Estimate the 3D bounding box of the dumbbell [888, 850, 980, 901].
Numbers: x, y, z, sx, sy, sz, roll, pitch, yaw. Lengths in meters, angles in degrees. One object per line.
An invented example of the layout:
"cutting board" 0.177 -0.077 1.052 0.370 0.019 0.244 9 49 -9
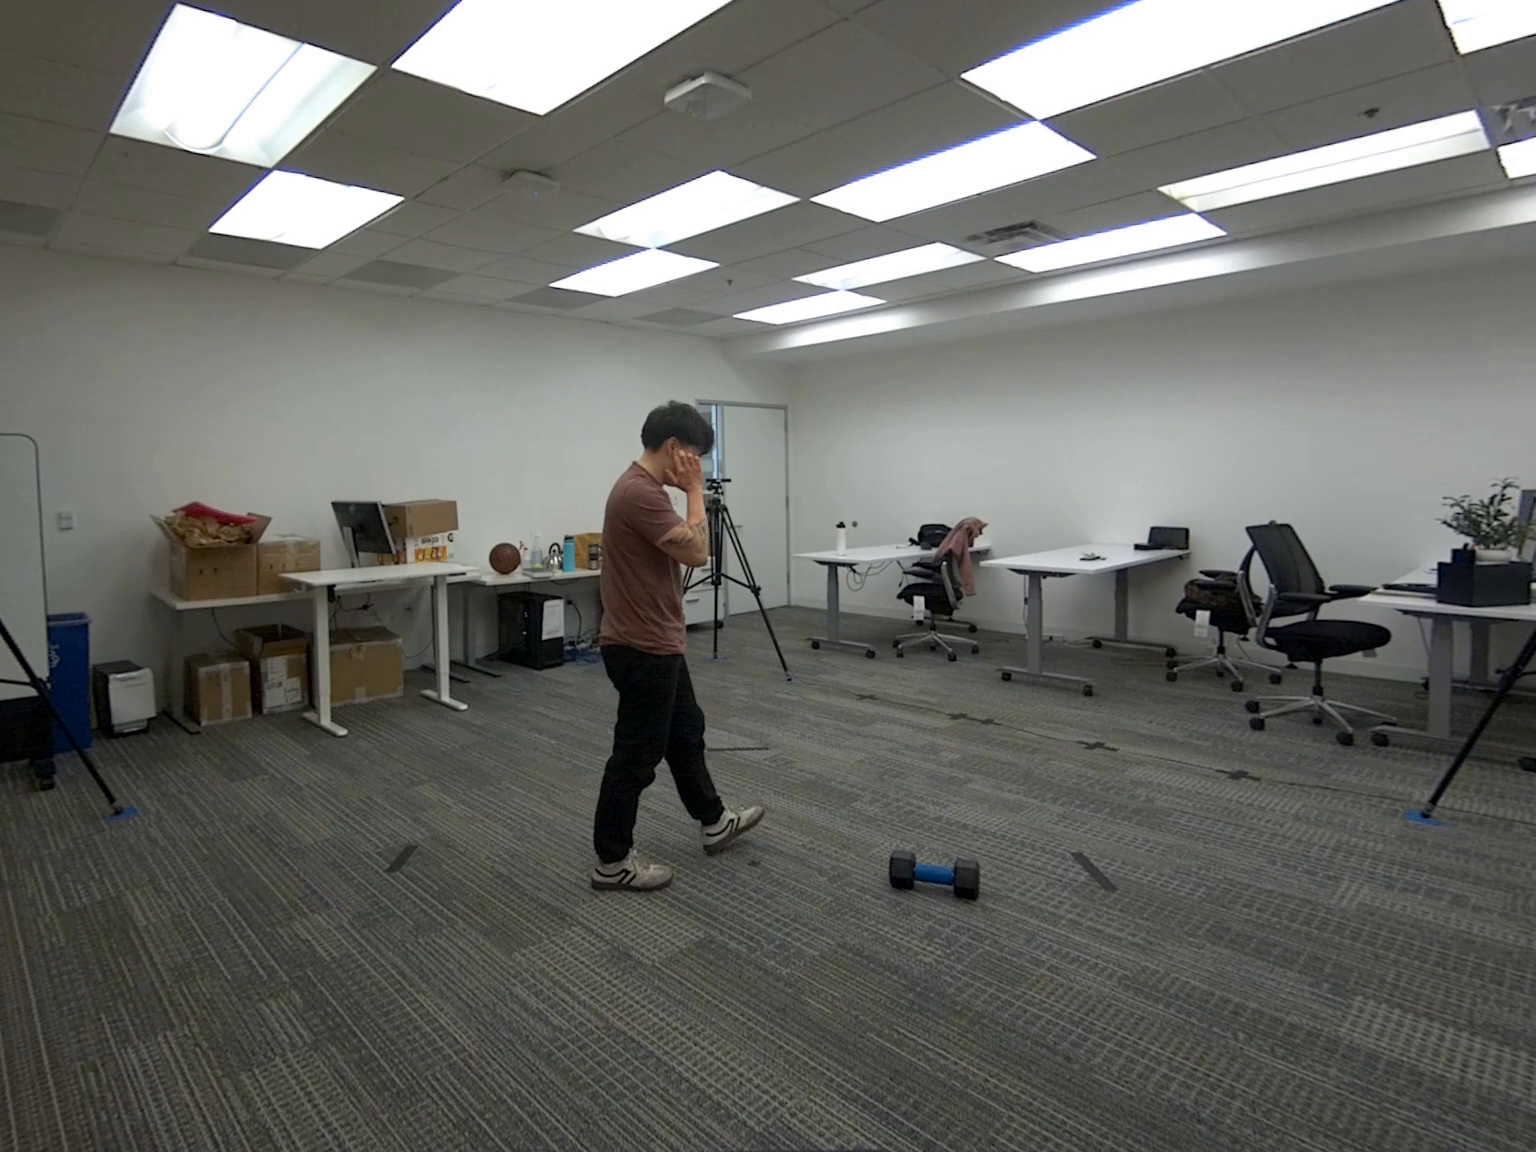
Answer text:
"dumbbell" 0.563 1.004 2.882 0.299 0.119 0.110 1 35 20
